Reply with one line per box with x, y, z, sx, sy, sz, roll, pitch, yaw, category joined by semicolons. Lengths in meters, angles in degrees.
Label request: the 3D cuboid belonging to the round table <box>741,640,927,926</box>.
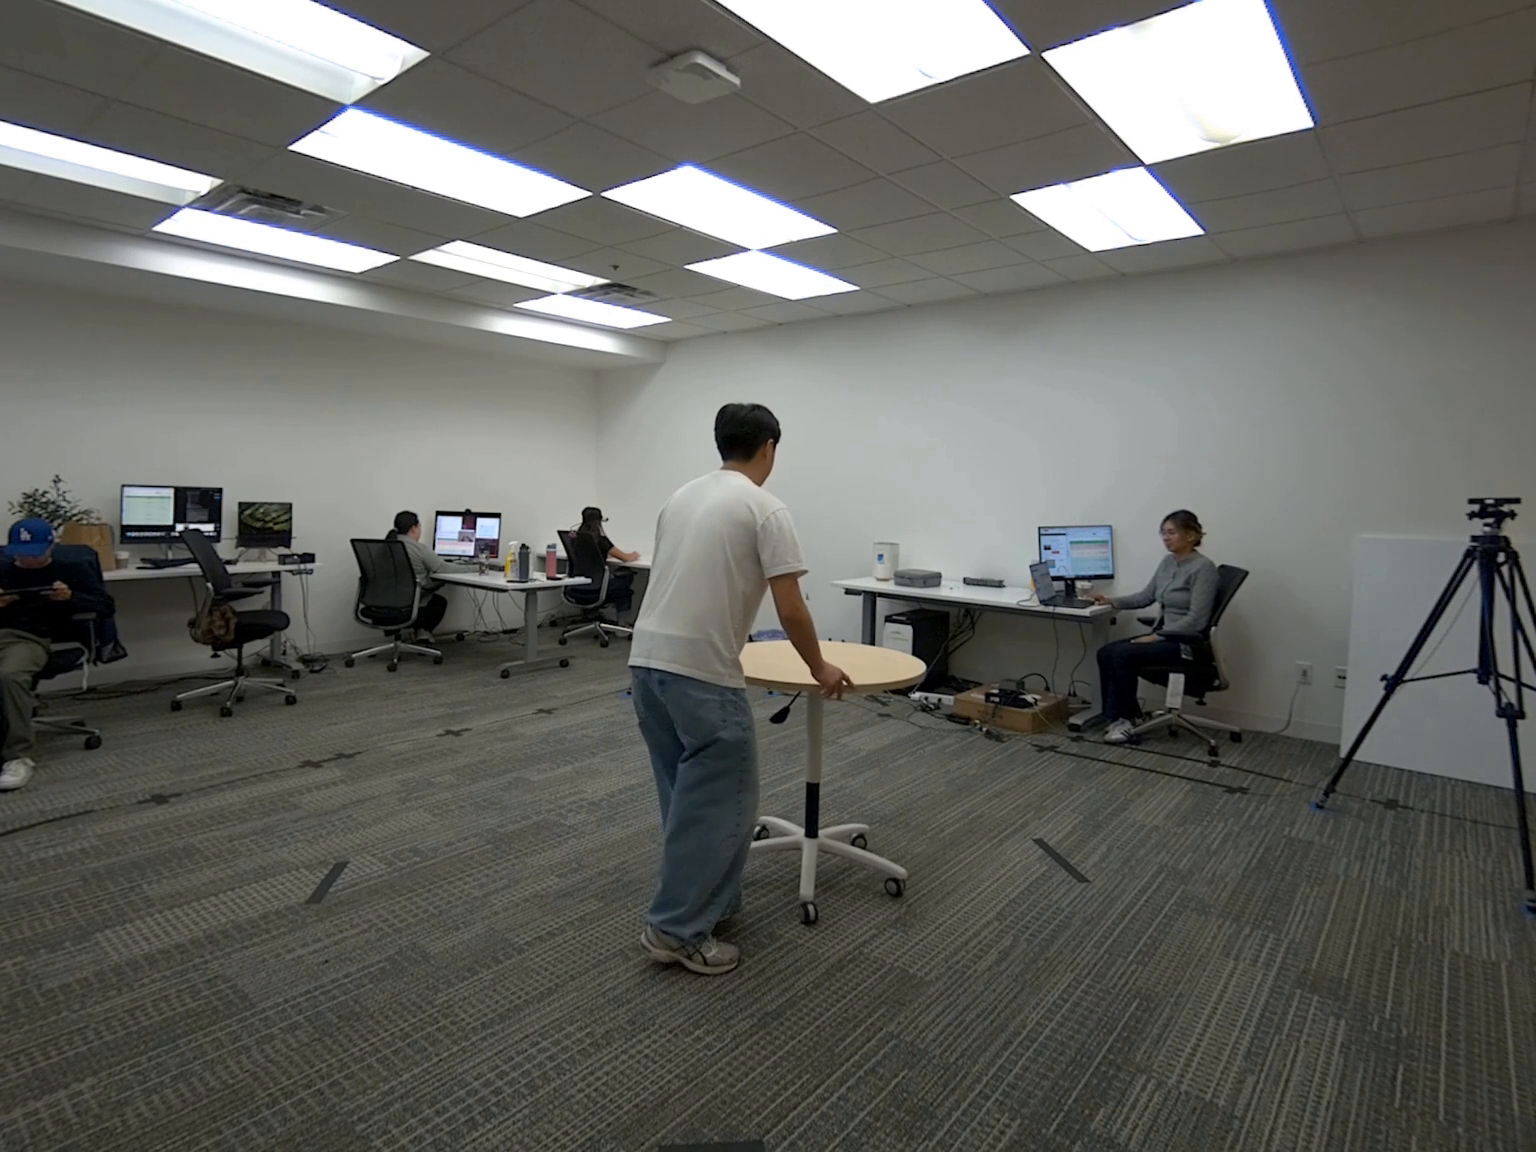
0.141;0.682;3.058;0.784;0.784;0.789;1;4;-2;round table
